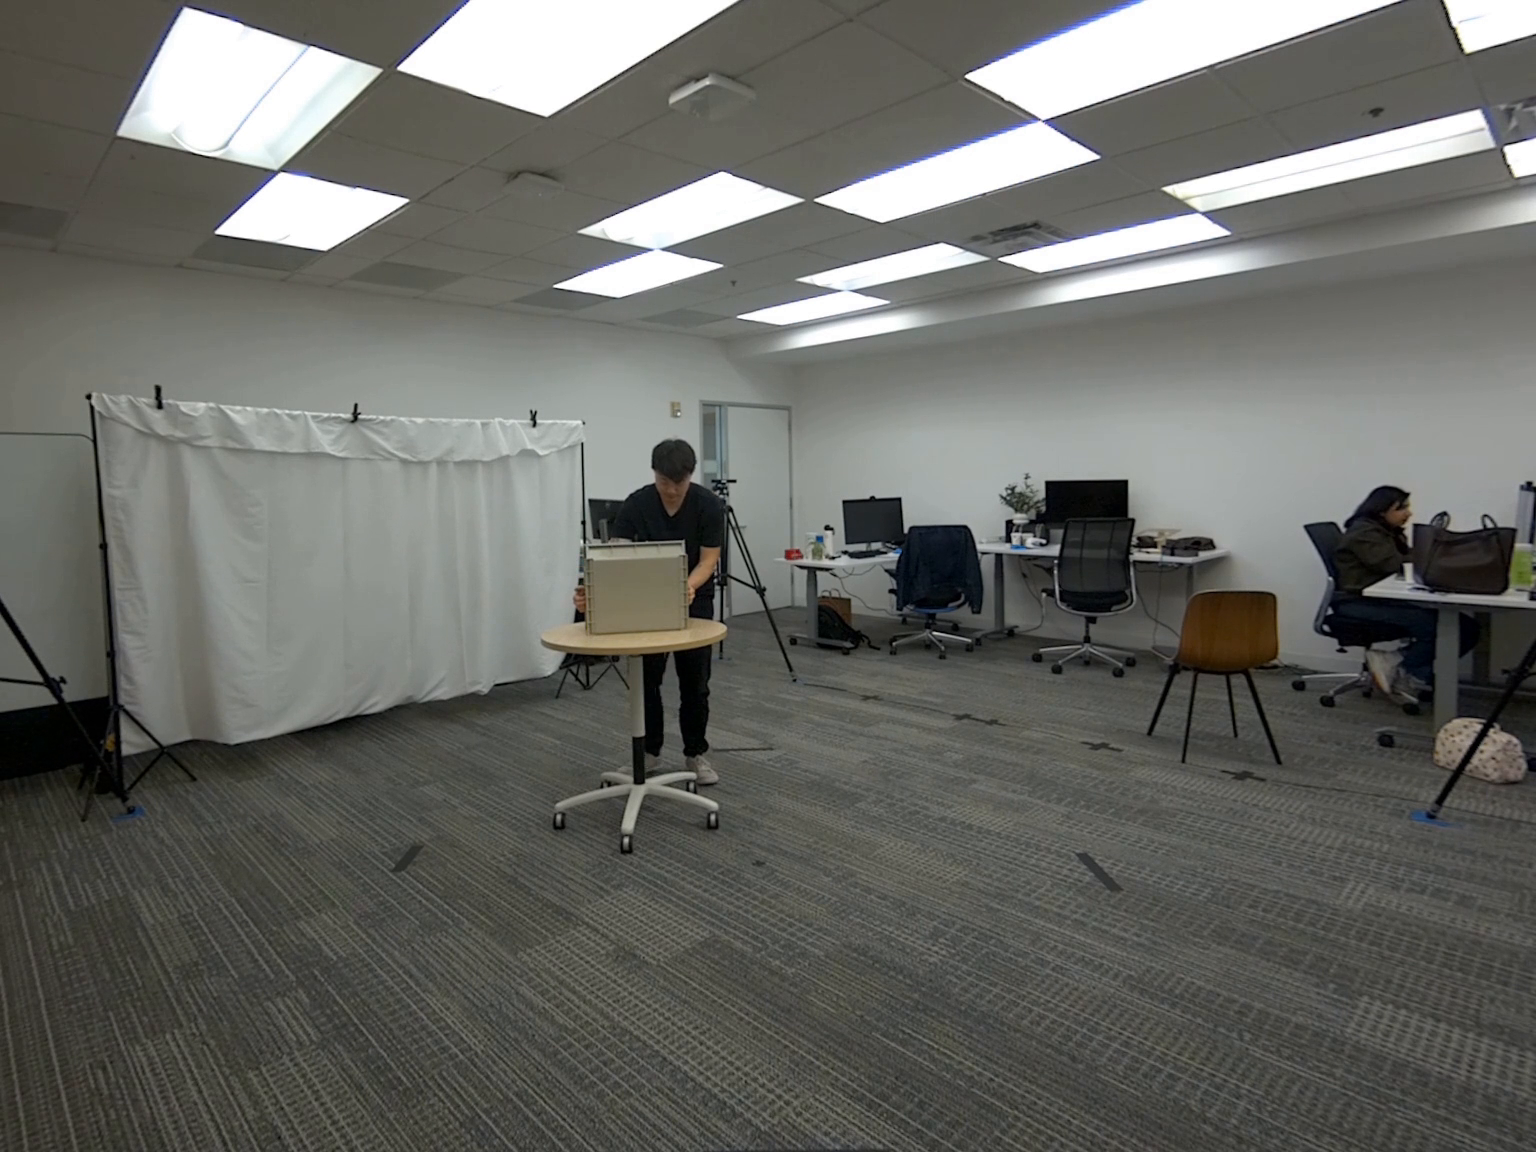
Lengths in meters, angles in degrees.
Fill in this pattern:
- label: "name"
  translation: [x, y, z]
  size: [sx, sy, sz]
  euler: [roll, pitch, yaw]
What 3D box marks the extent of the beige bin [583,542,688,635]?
- label: "beige bin"
  translation: [-0.552, 0.044, 3.547]
  size: [0.418, 0.375, 0.192]
  euler: [-2, 7, -11]
